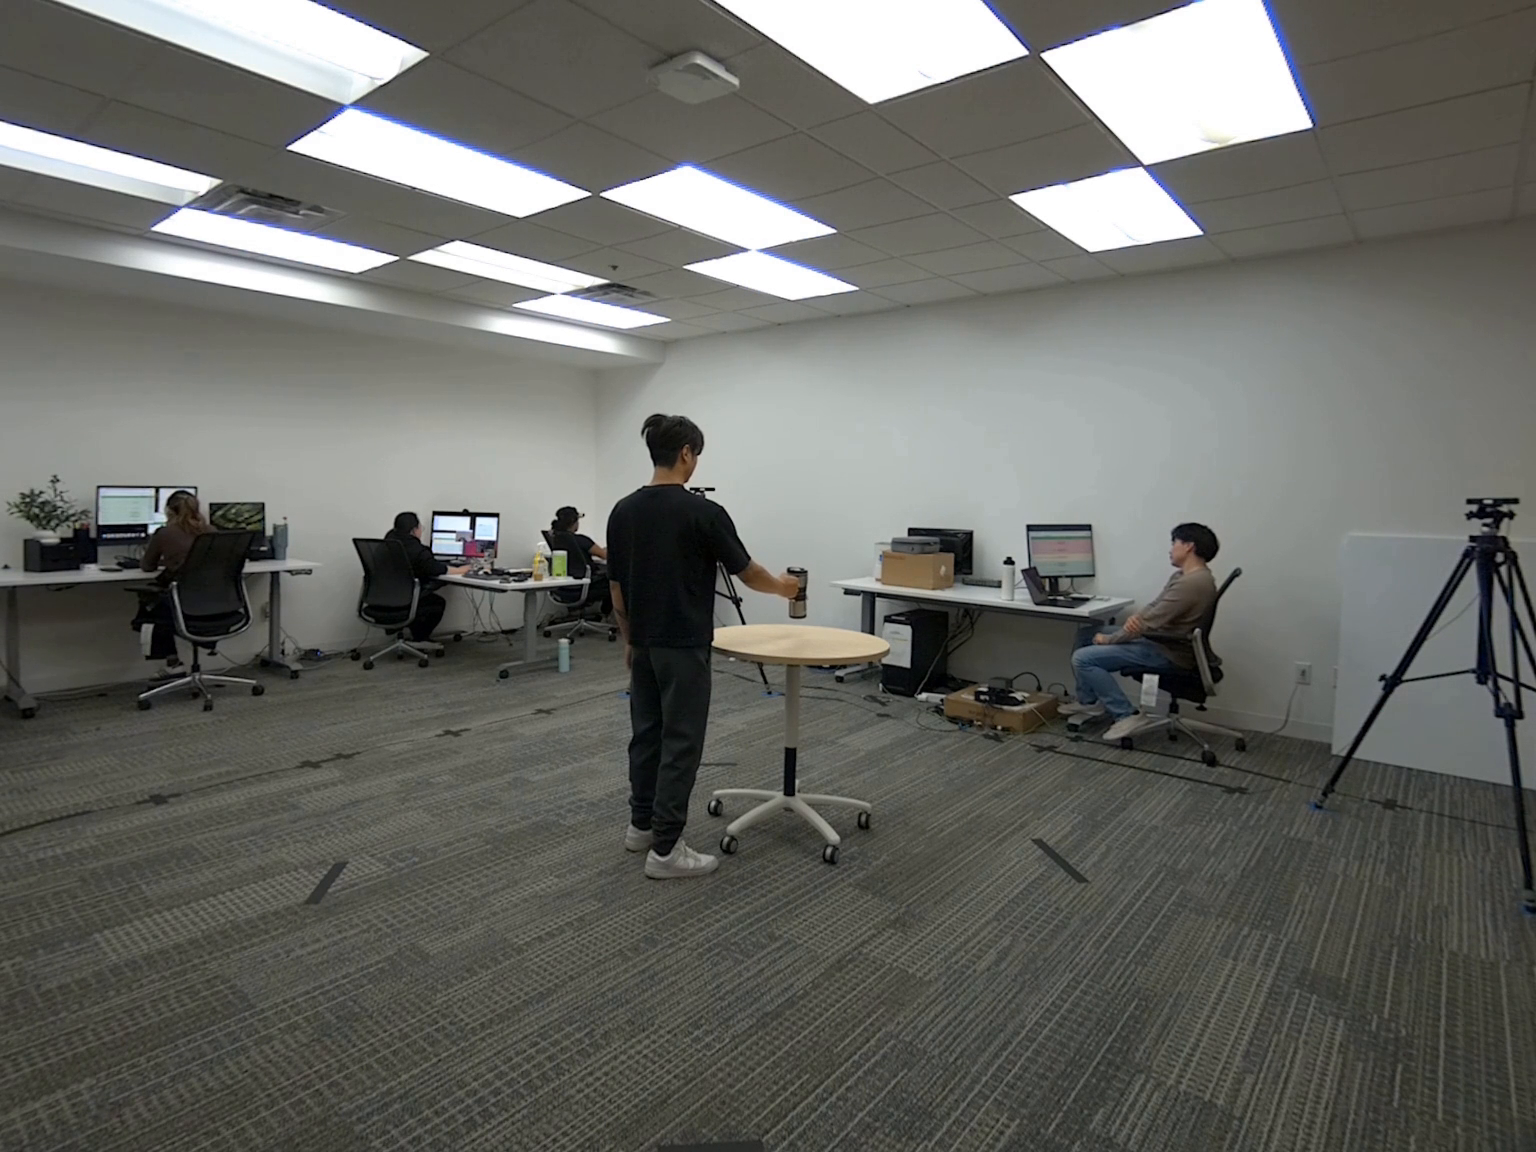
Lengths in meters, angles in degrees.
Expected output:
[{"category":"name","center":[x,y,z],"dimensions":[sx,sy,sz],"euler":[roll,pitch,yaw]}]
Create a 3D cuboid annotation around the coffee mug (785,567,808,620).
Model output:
[{"category":"coffee mug","center":[0.095,0.071,3.470],"dimensions":[0.118,0.201,0.091],"euler":[-2,10,-37]}]
